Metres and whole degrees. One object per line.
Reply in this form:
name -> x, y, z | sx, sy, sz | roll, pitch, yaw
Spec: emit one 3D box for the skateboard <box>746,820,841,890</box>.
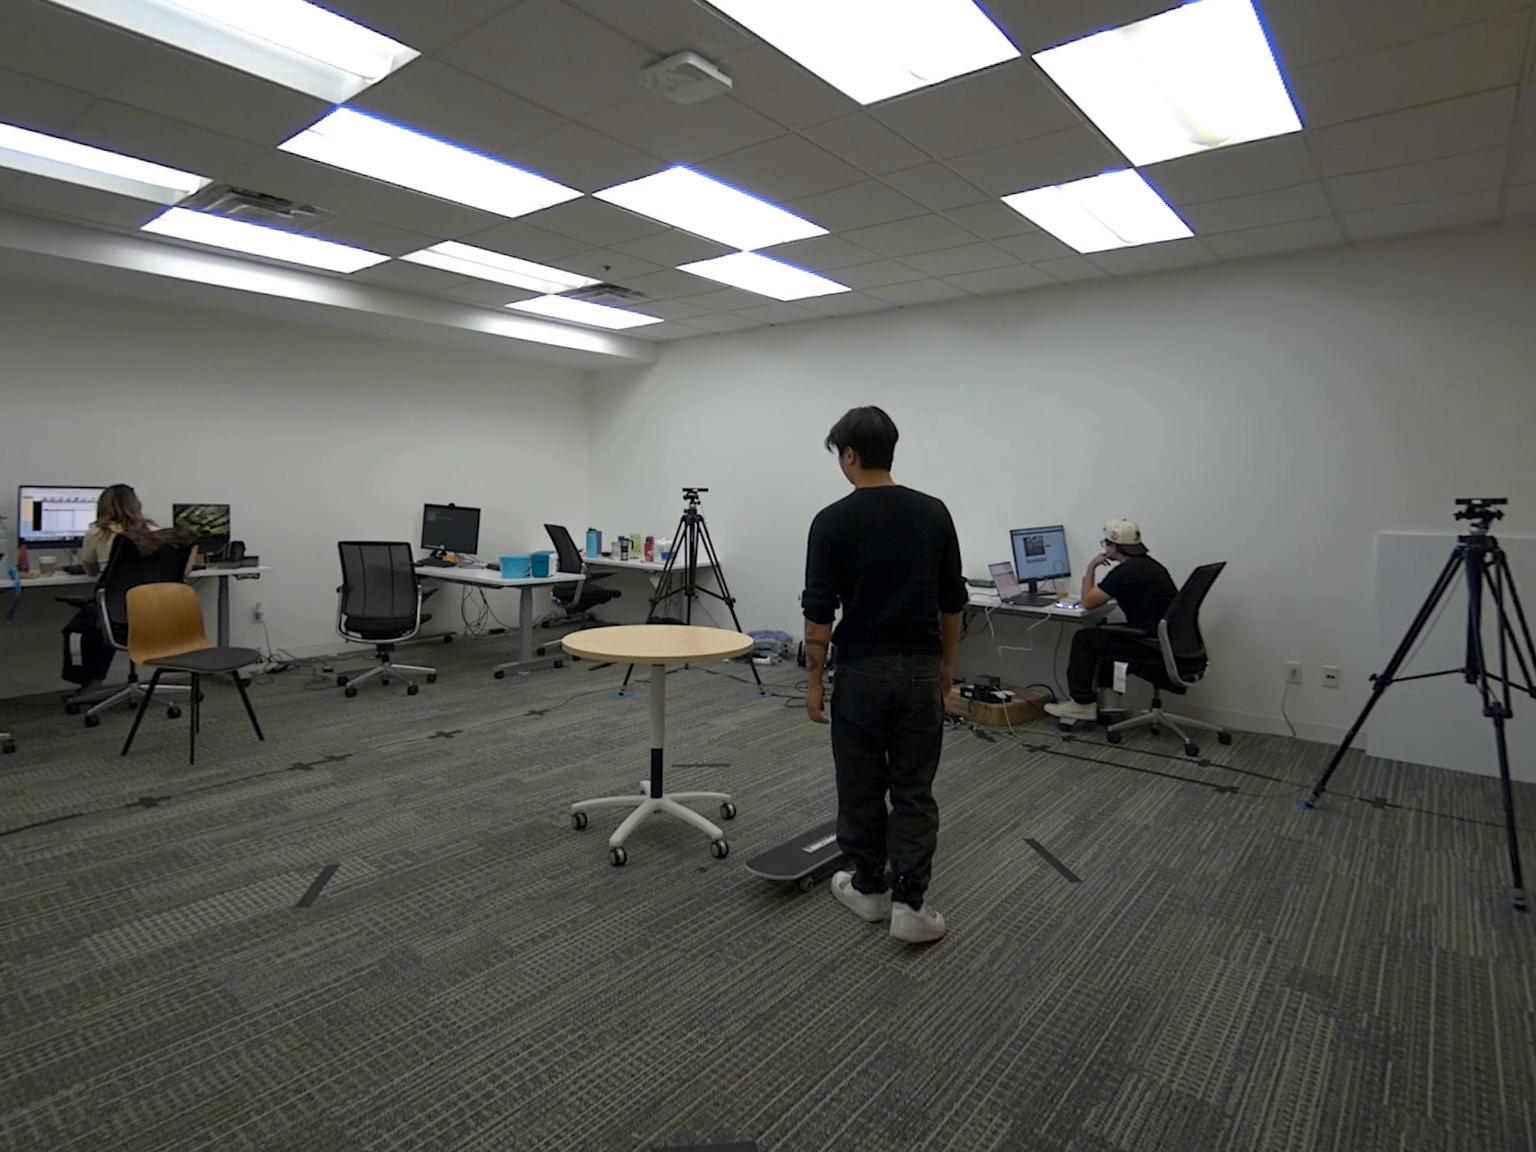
skateboard -> 0.199, 1.022, 3.155 | 0.200, 0.110, 0.762 | 6, 7, 40
